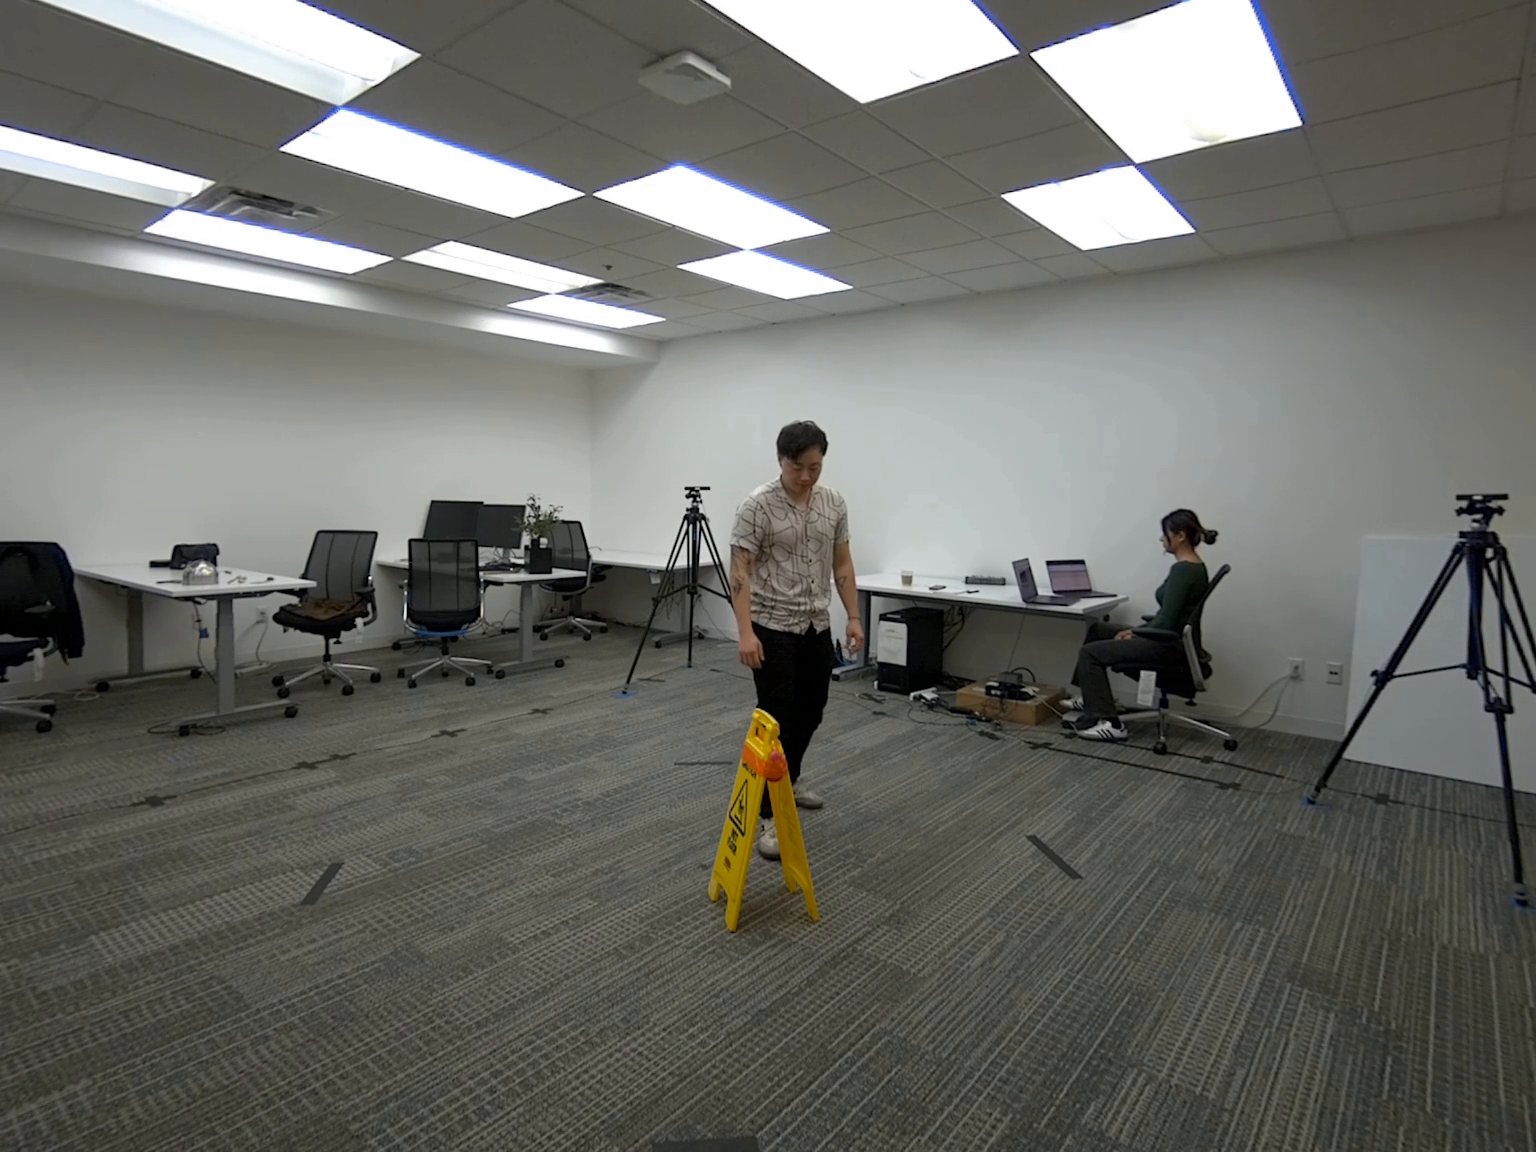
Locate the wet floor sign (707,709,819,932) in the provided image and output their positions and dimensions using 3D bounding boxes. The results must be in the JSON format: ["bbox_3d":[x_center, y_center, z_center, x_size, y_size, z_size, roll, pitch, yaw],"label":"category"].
[{"bbox_3d":[-0.024,0.774,2.804,0.285,0.644,0.288,1,4,-17],"label":"wet floor sign"}]
